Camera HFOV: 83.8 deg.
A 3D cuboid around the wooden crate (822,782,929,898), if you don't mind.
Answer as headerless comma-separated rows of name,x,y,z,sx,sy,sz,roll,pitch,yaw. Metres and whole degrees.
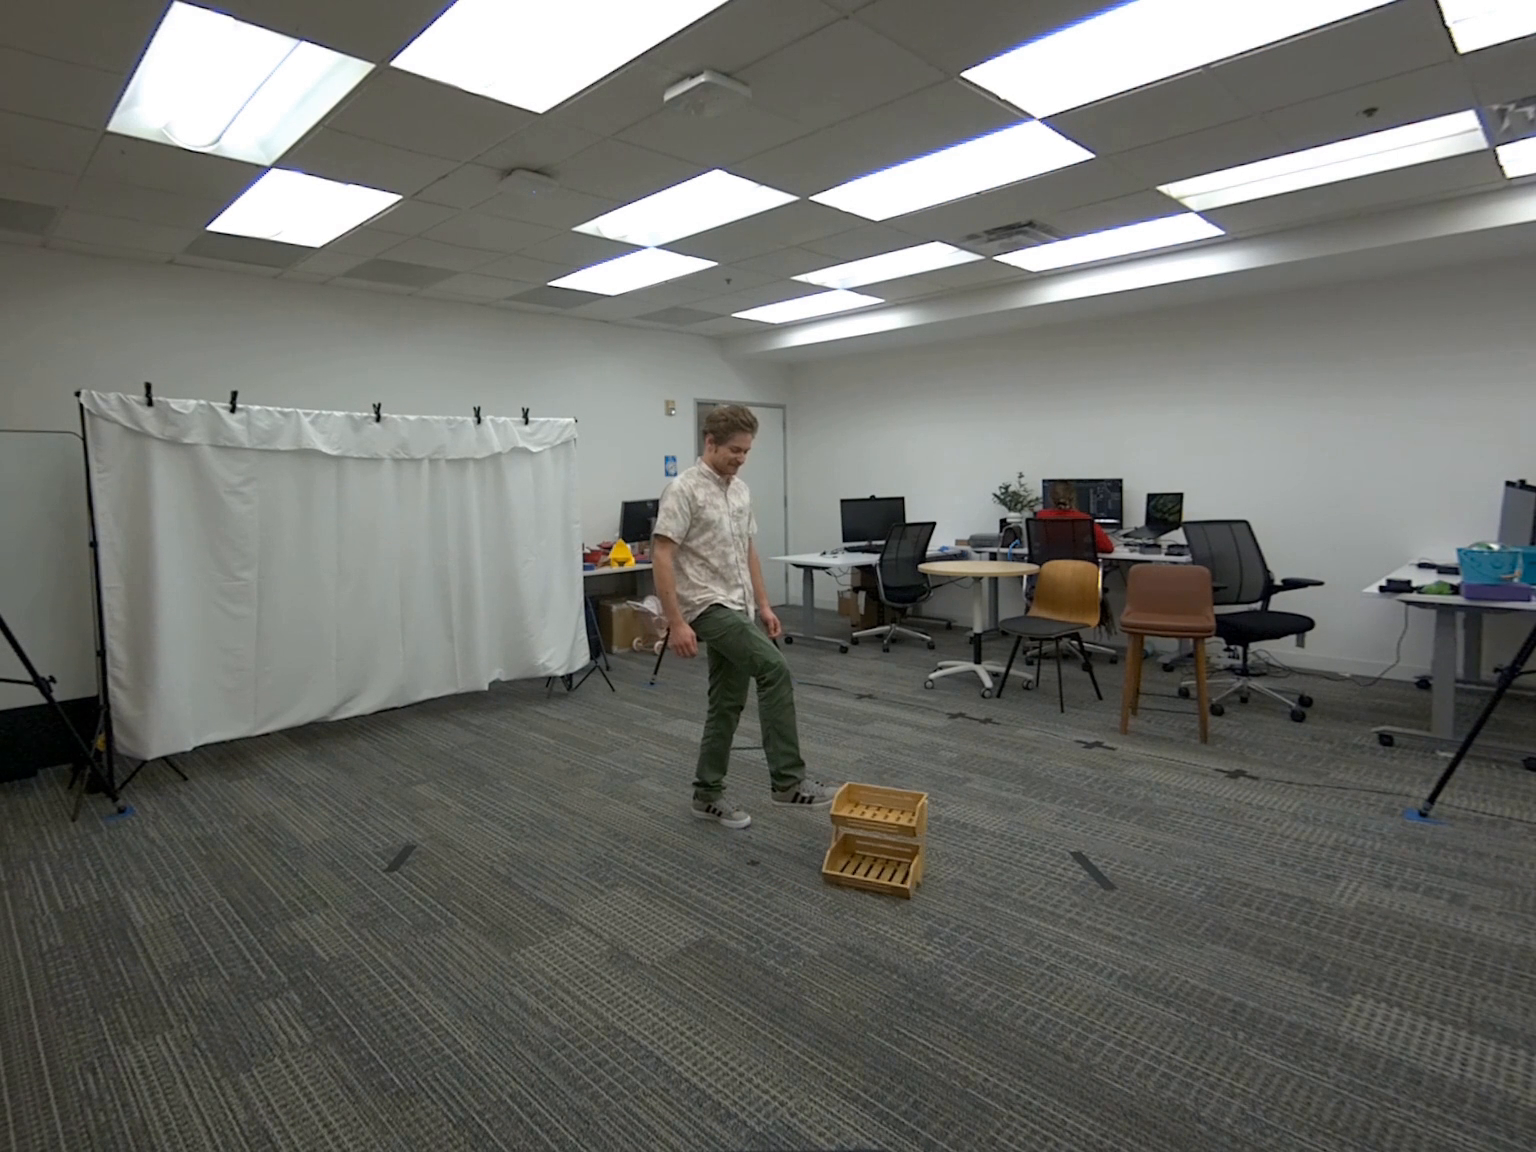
wooden crate,0.385,0.915,2.987,0.332,0.272,0.296,1,5,24
